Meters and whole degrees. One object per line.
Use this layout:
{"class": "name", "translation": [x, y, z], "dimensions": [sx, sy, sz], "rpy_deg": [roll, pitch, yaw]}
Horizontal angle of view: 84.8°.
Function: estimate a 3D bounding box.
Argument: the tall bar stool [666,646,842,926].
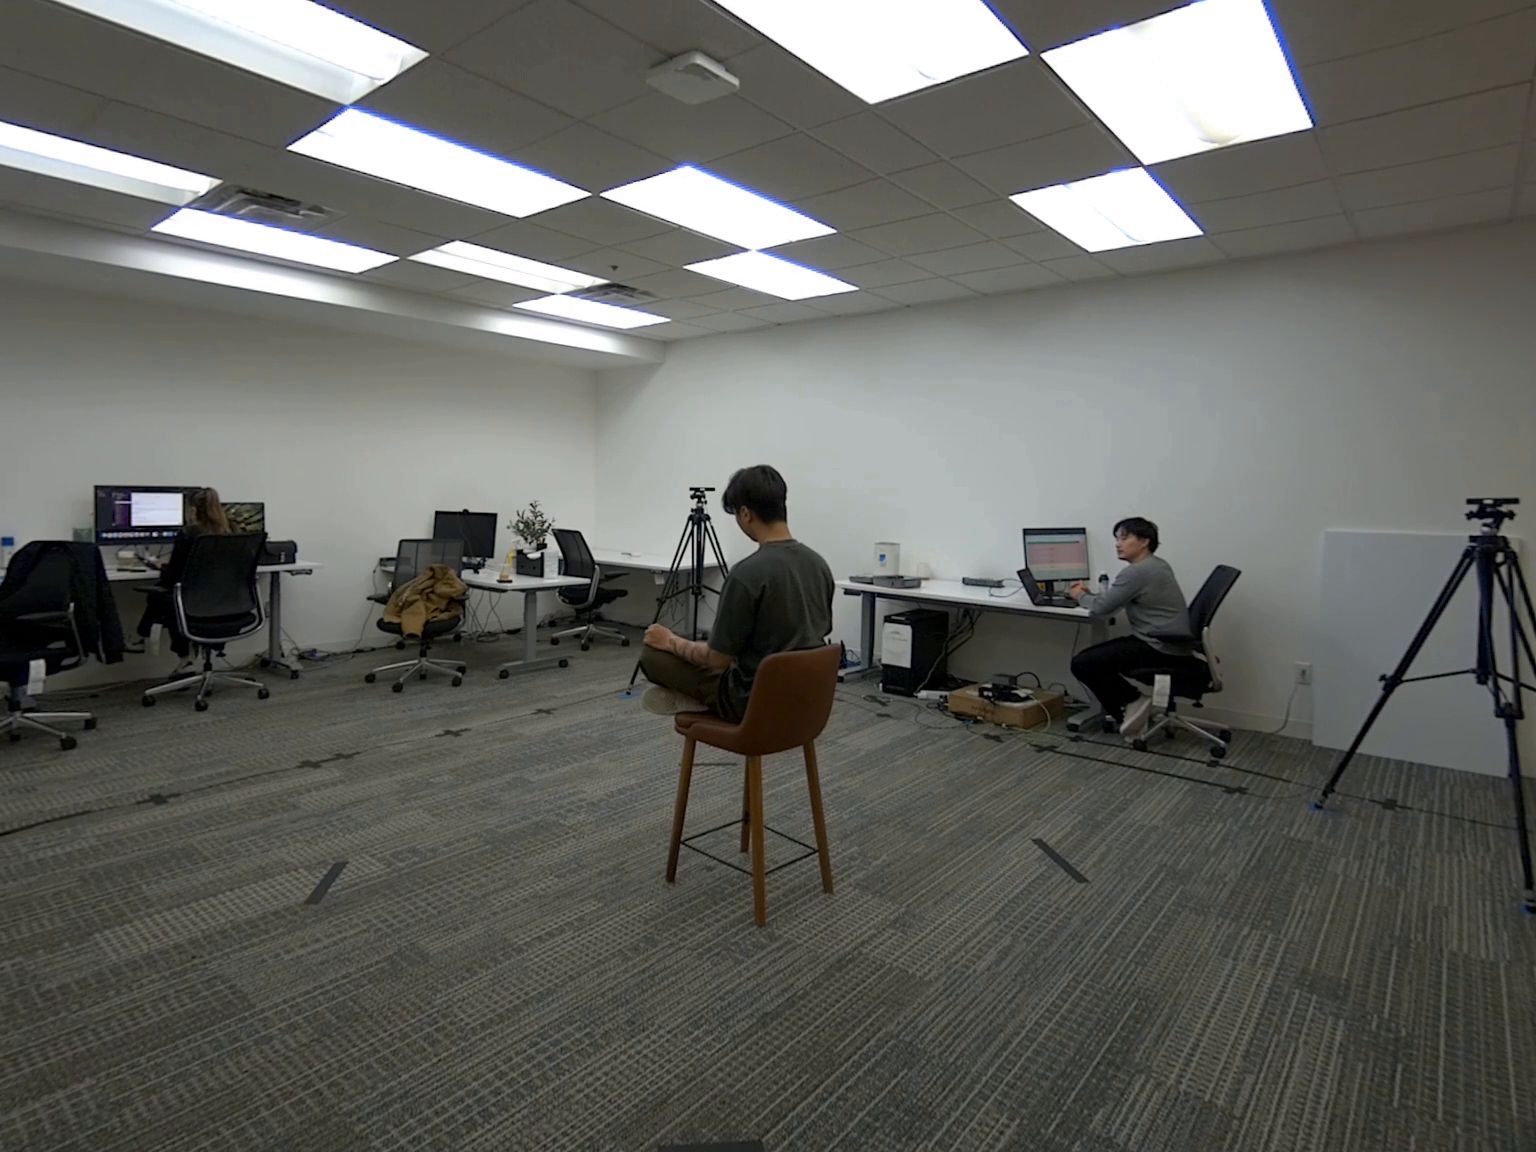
{"class": "tall bar stool", "translation": [-0.051, 0.649, 2.953], "dimensions": [0.484, 0.886, 0.442], "rpy_deg": [8, 6, 44]}
